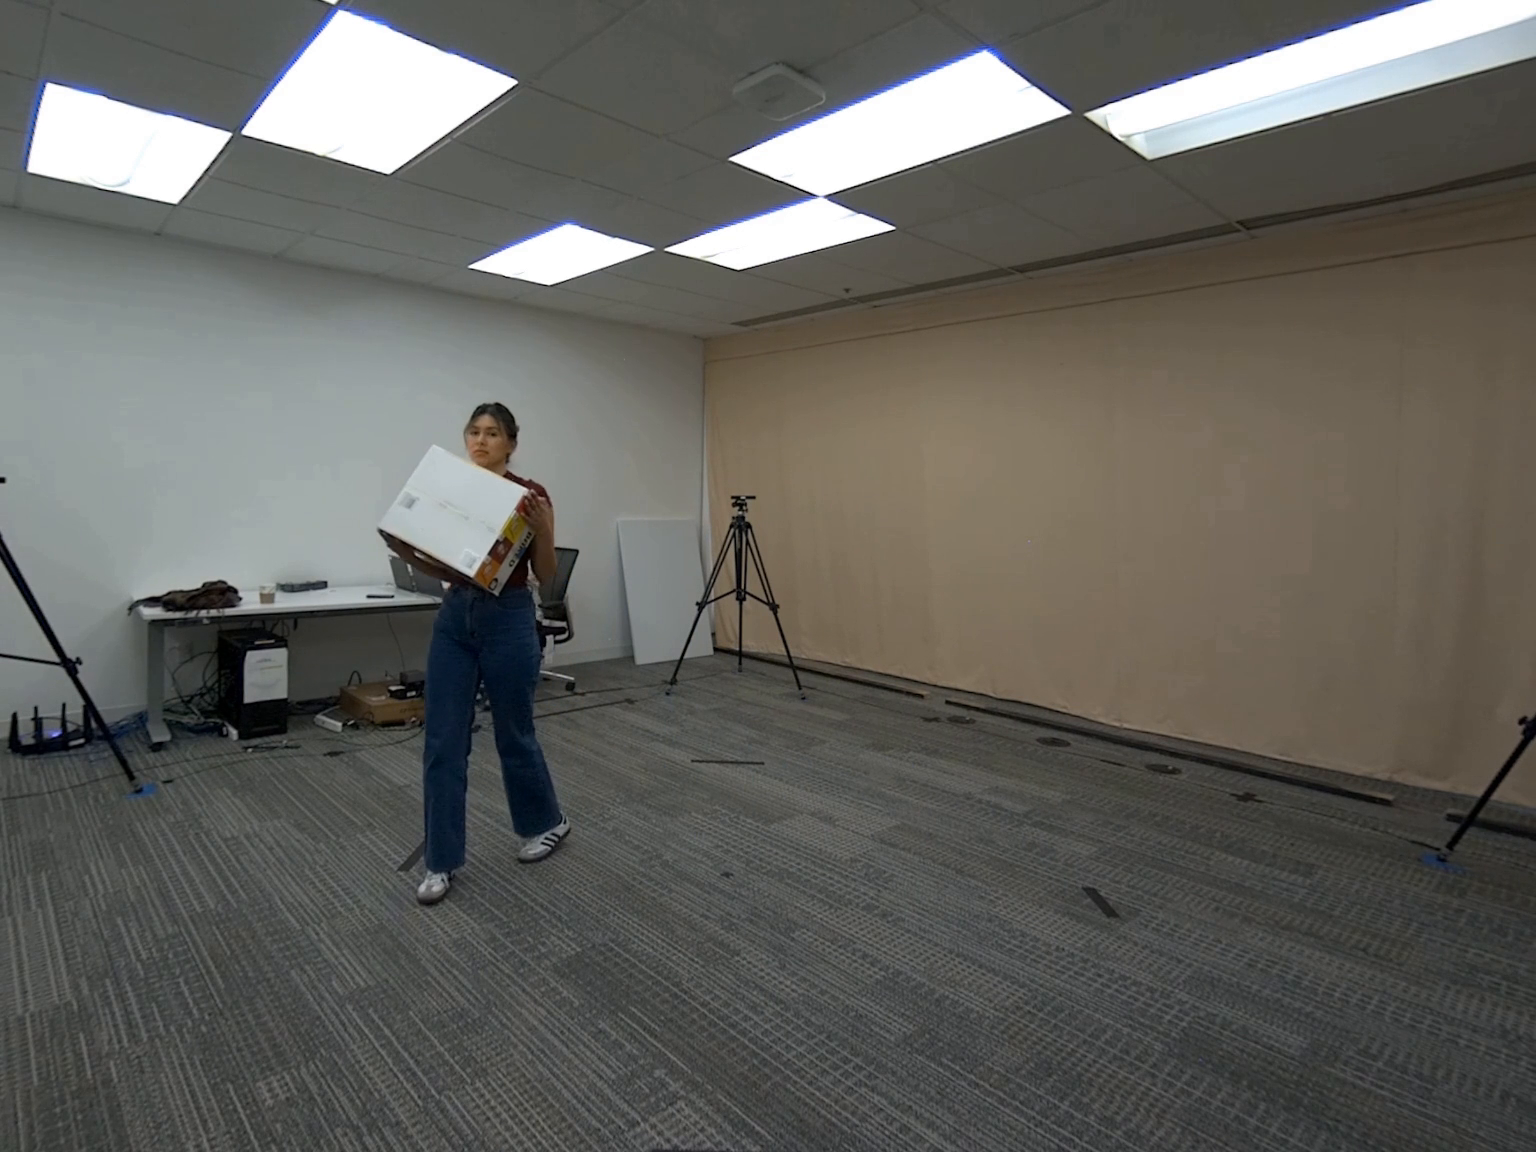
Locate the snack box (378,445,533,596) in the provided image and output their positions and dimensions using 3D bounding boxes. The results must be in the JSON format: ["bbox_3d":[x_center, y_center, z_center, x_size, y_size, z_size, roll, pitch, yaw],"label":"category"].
[{"bbox_3d":[-1.026,-0.188,2.843,0.412,0.341,0.202,25,-14,15],"label":"snack box"}]
